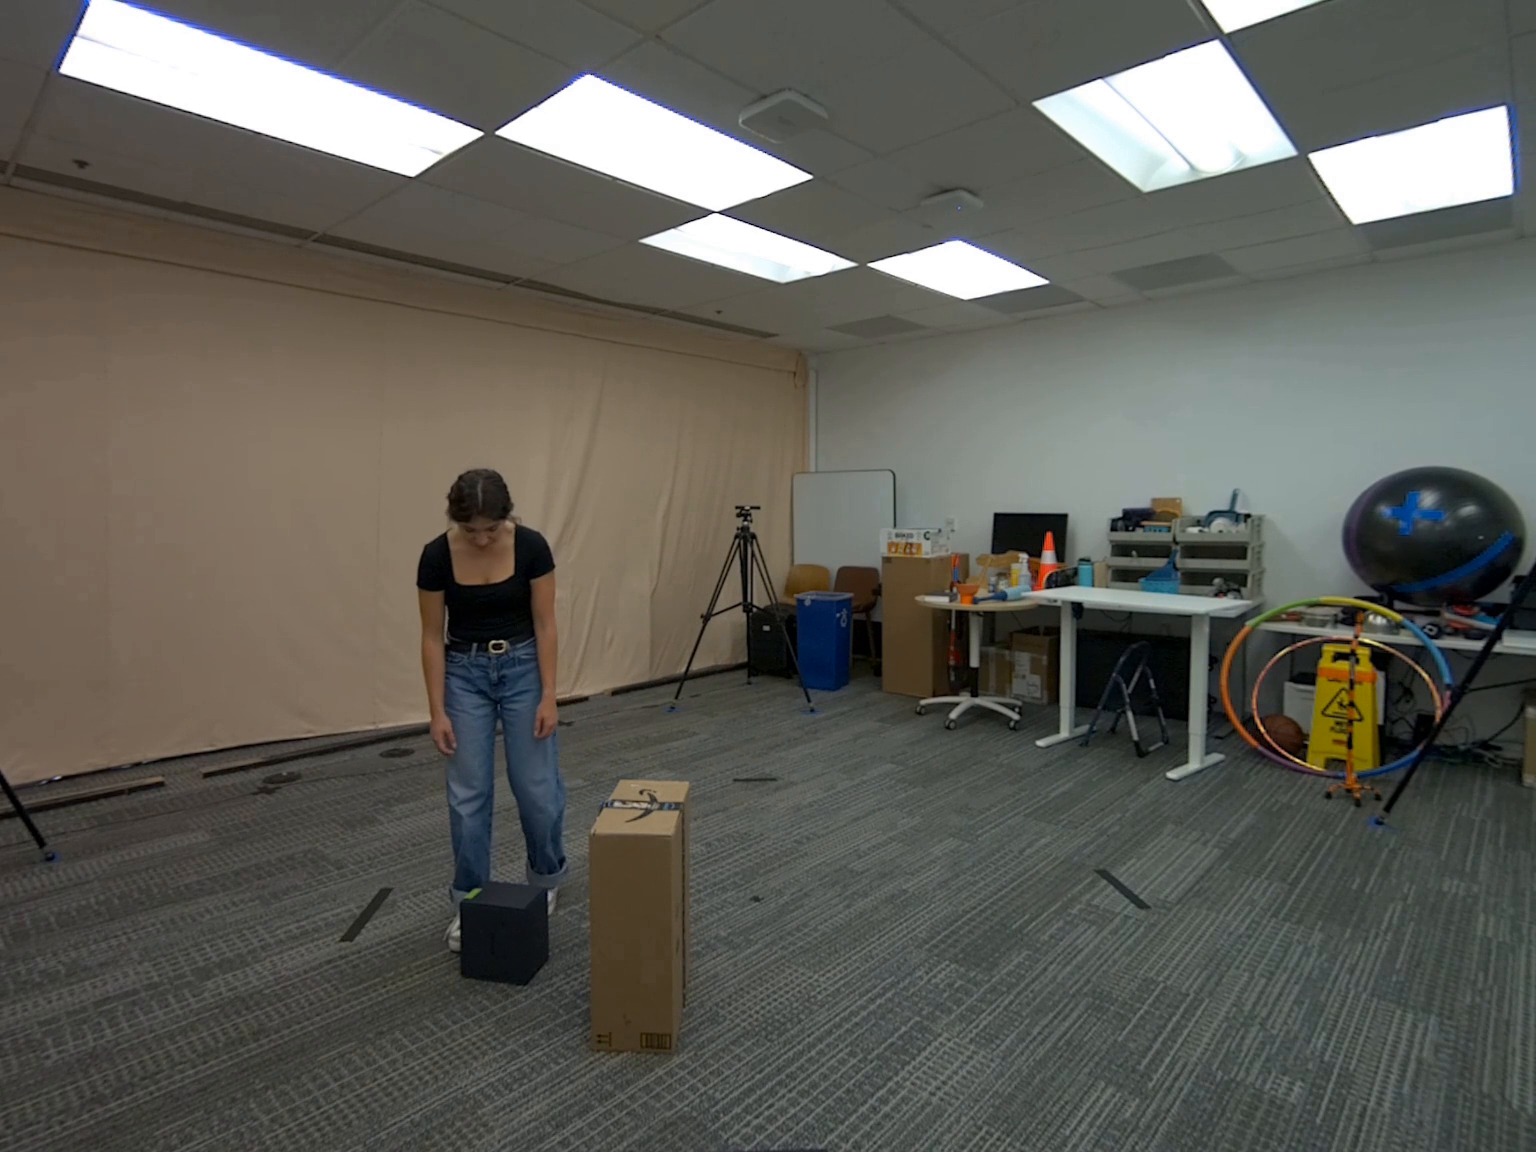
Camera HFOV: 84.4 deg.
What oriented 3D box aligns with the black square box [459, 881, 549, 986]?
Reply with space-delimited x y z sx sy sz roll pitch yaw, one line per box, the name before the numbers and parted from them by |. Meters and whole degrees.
black square box | -0.795 1.066 2.537 0.220 0.228 0.154 -1 2 11
